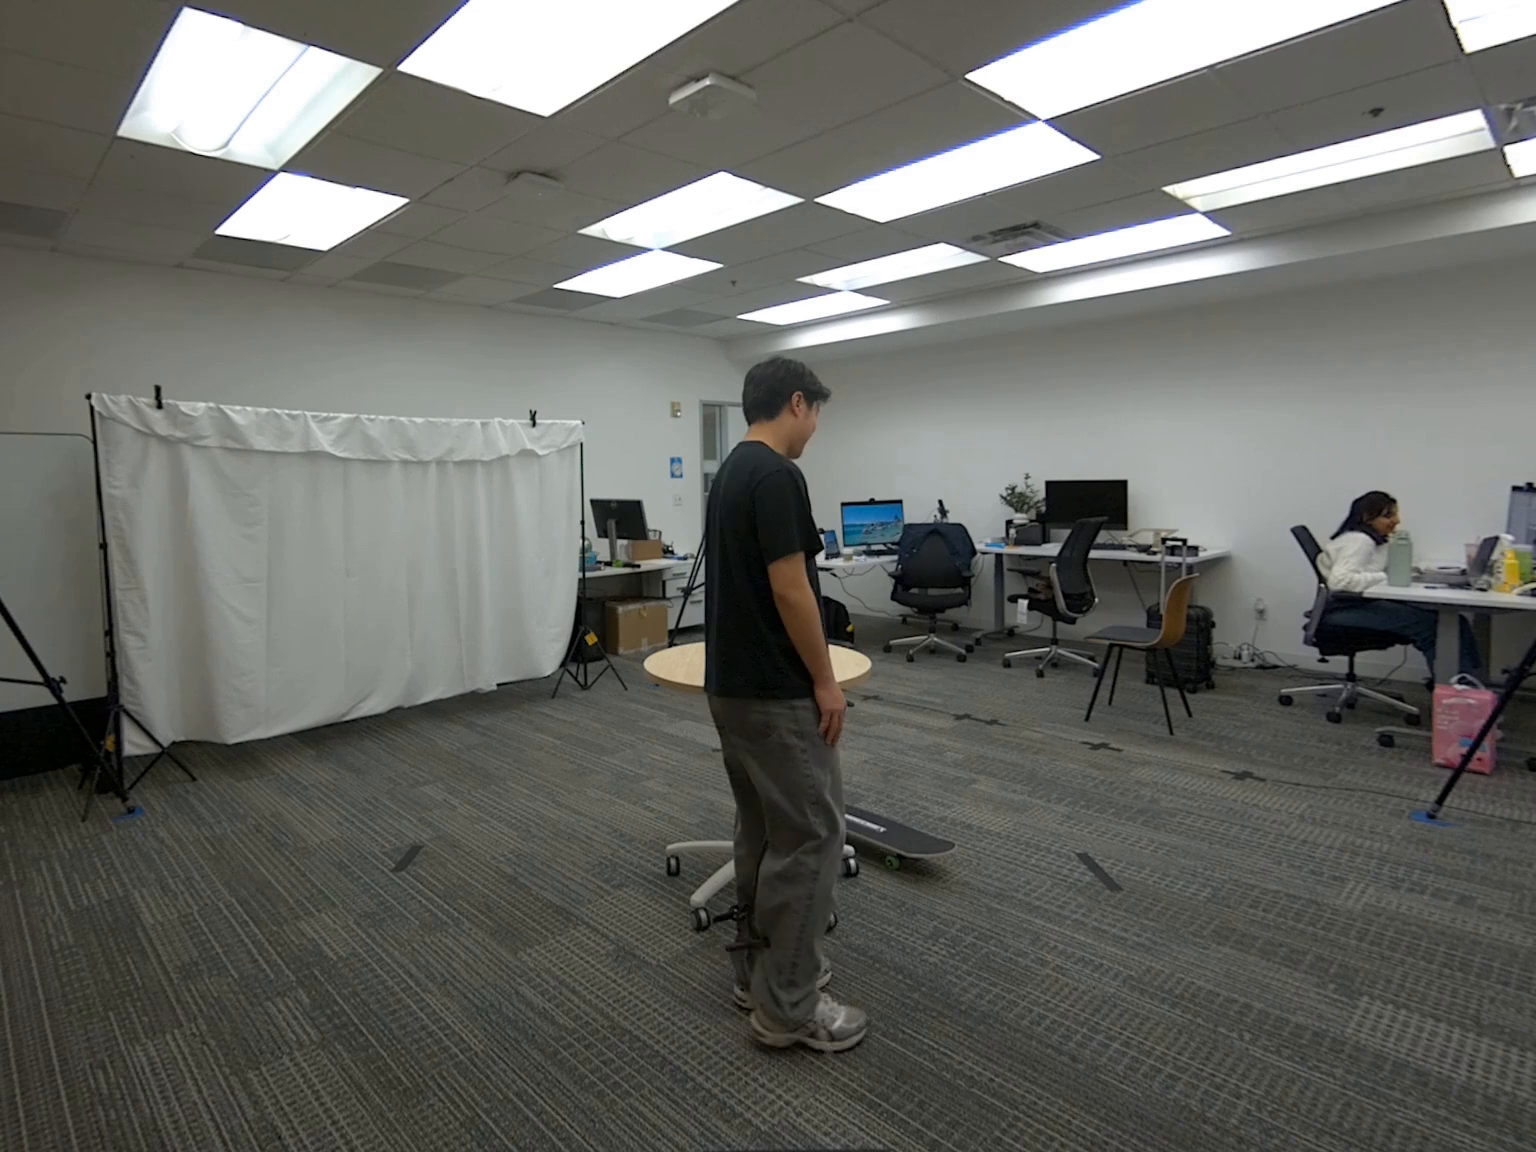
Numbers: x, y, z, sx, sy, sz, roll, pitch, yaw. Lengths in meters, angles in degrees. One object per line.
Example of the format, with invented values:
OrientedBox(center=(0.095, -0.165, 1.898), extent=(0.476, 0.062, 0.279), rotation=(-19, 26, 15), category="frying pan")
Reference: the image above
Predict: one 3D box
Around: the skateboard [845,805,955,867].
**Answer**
OrientedBox(center=(0.365, 0.972, 3.238), extent=(0.188, 0.110, 0.810), rotation=(-7, 9, -42), category="skateboard")
